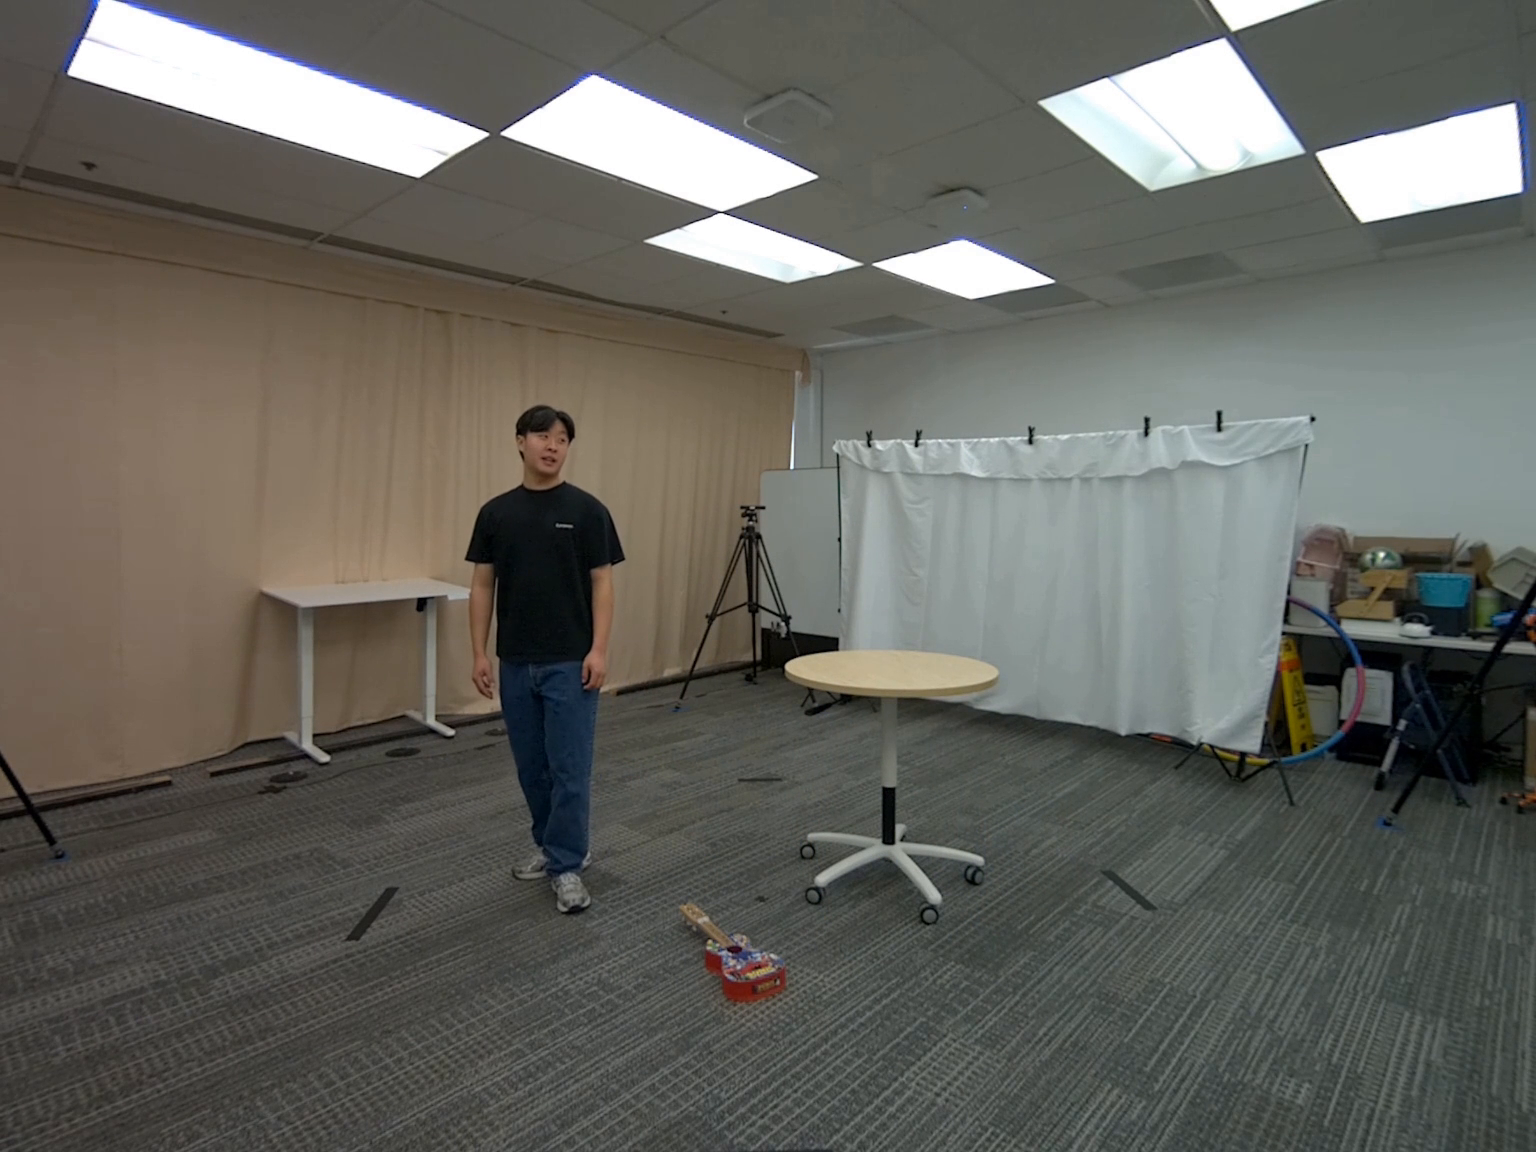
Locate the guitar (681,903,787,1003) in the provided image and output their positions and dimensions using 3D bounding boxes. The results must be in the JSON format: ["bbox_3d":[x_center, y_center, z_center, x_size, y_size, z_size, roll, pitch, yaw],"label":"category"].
[{"bbox_3d":[-0.112,1.143,2.605,0.189,0.070,0.510,-3,6,-23],"label":"guitar"}]
